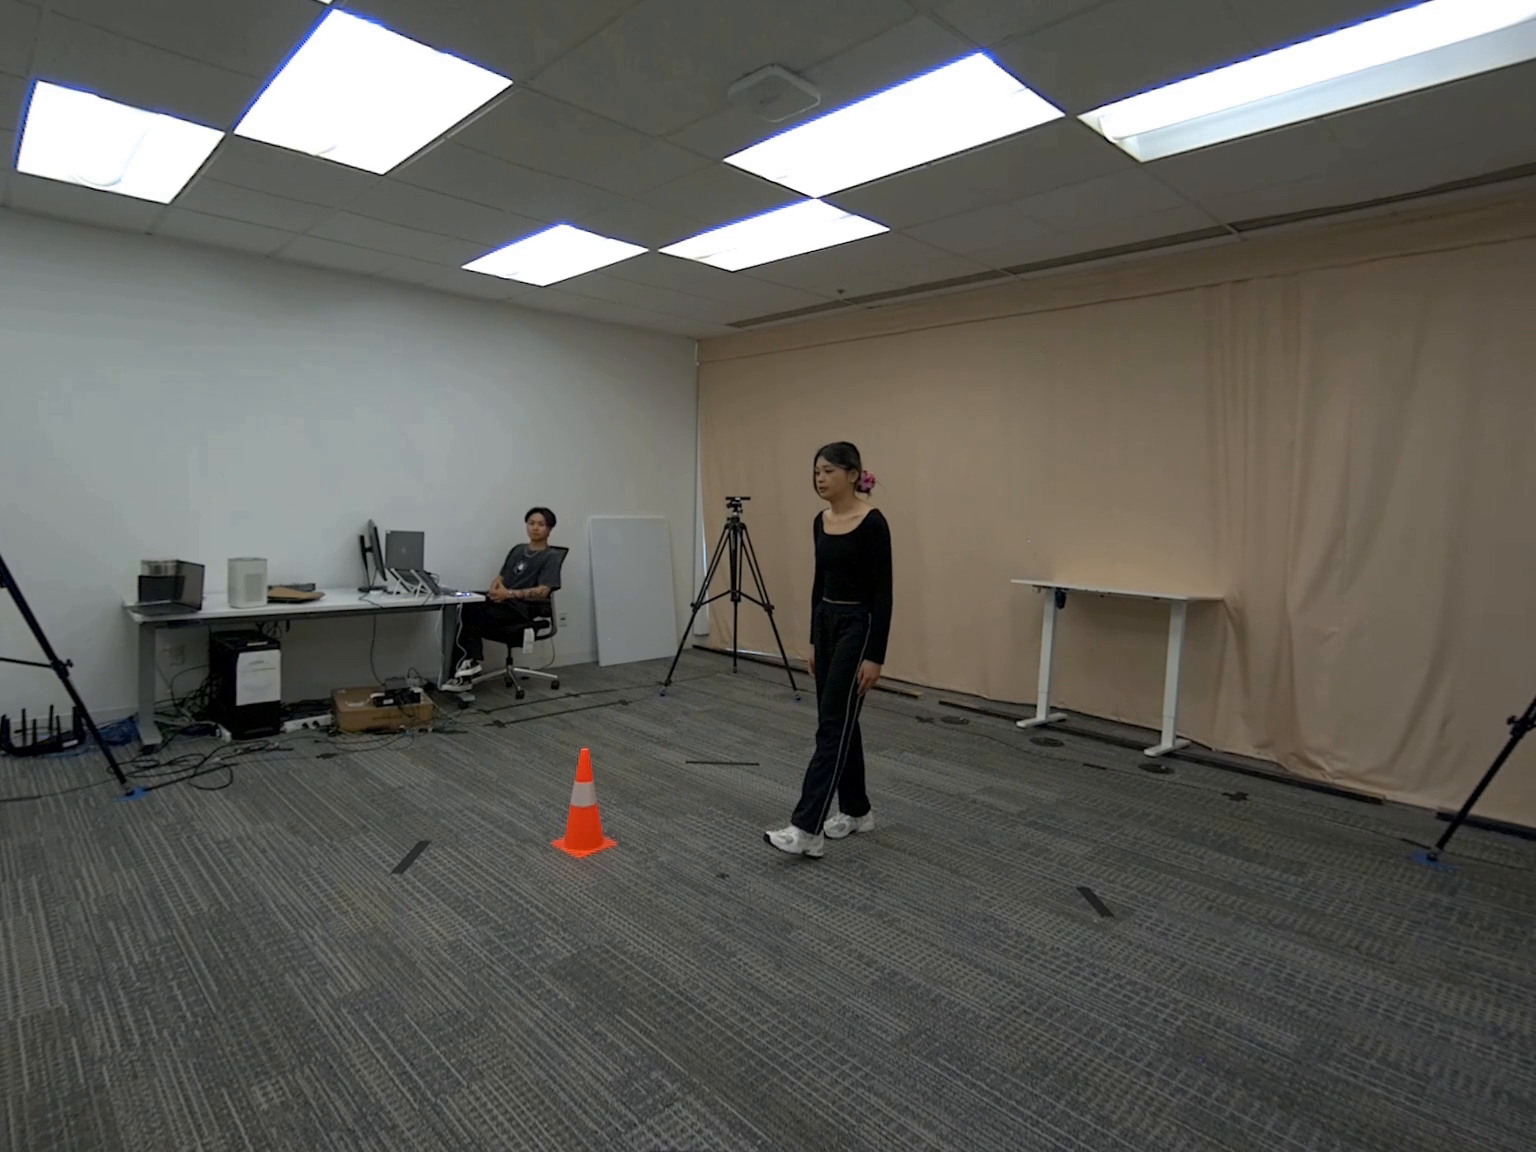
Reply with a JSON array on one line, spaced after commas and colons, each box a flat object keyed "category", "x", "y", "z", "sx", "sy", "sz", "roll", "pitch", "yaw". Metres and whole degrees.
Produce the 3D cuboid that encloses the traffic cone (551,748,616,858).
[{"category": "traffic cone", "x": -0.737, "y": 0.884, "z": 3.357, "sx": 0.208, "sy": 0.383, "sz": 0.200, "roll": 5, "pitch": 4, "yaw": 44}]
